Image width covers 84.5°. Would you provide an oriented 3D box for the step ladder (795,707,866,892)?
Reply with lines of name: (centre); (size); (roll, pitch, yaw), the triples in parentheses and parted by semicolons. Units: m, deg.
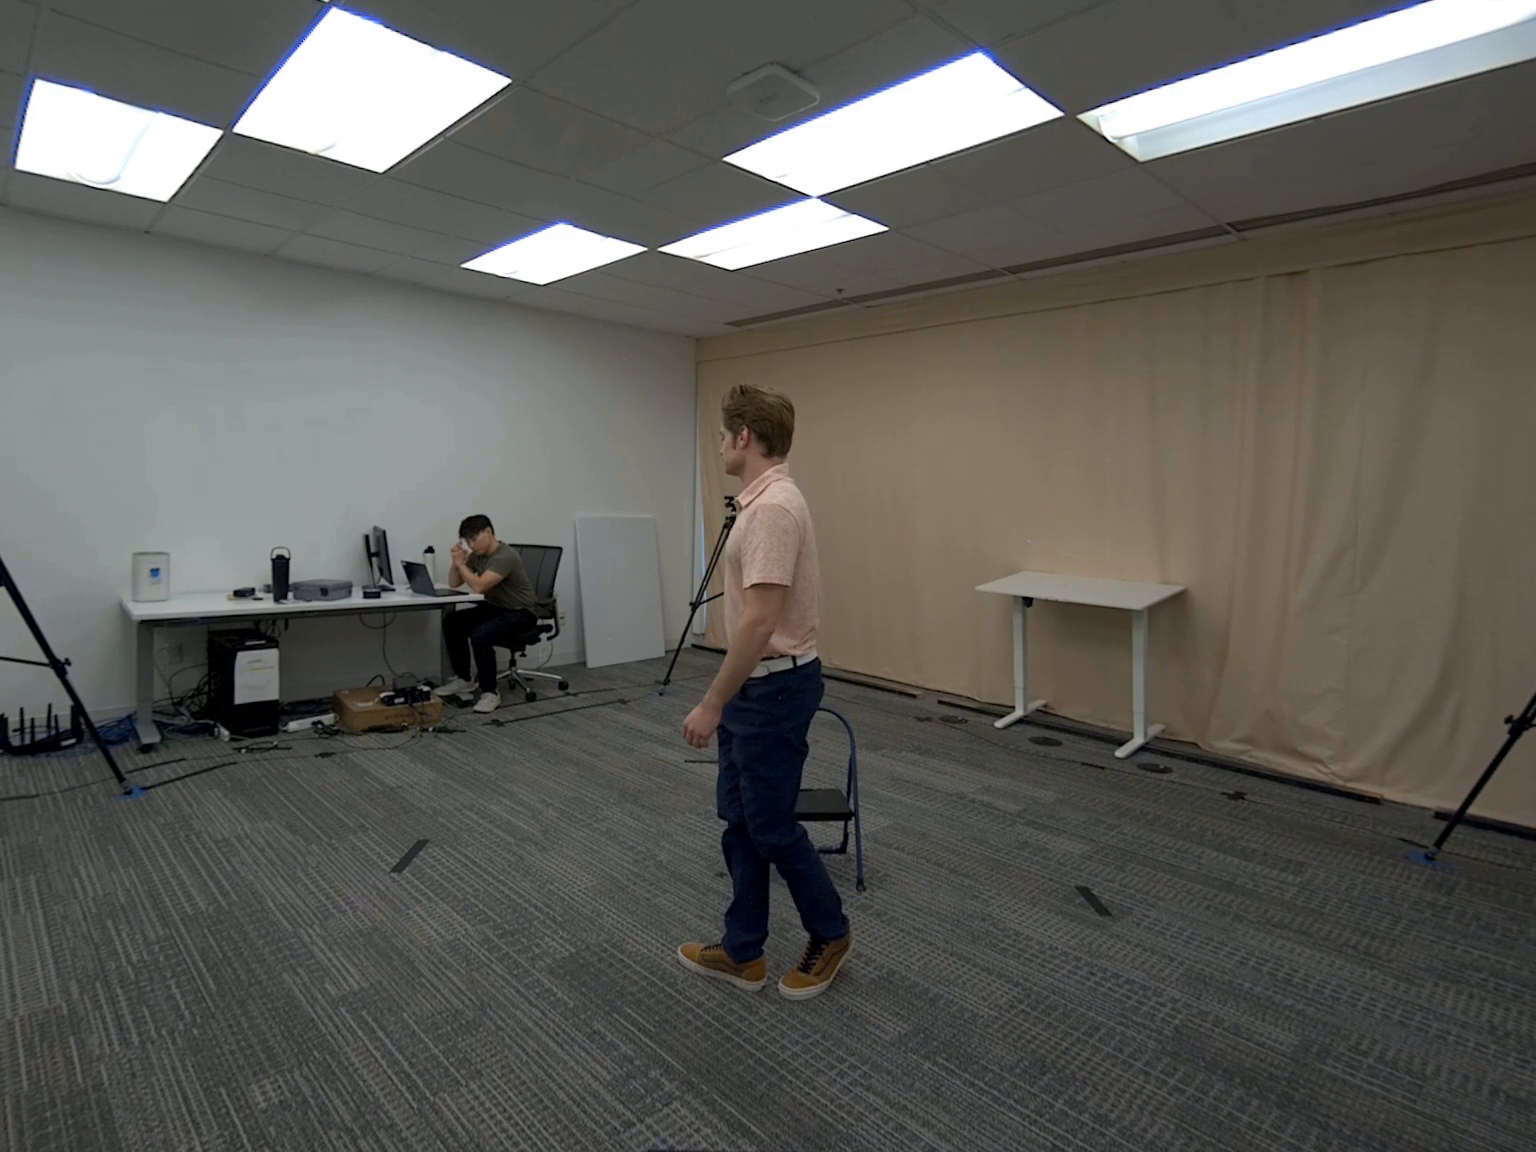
step ladder: (0.126, 0.805, 3.152); (0.429, 0.605, 0.351); (2, 2, -5)
